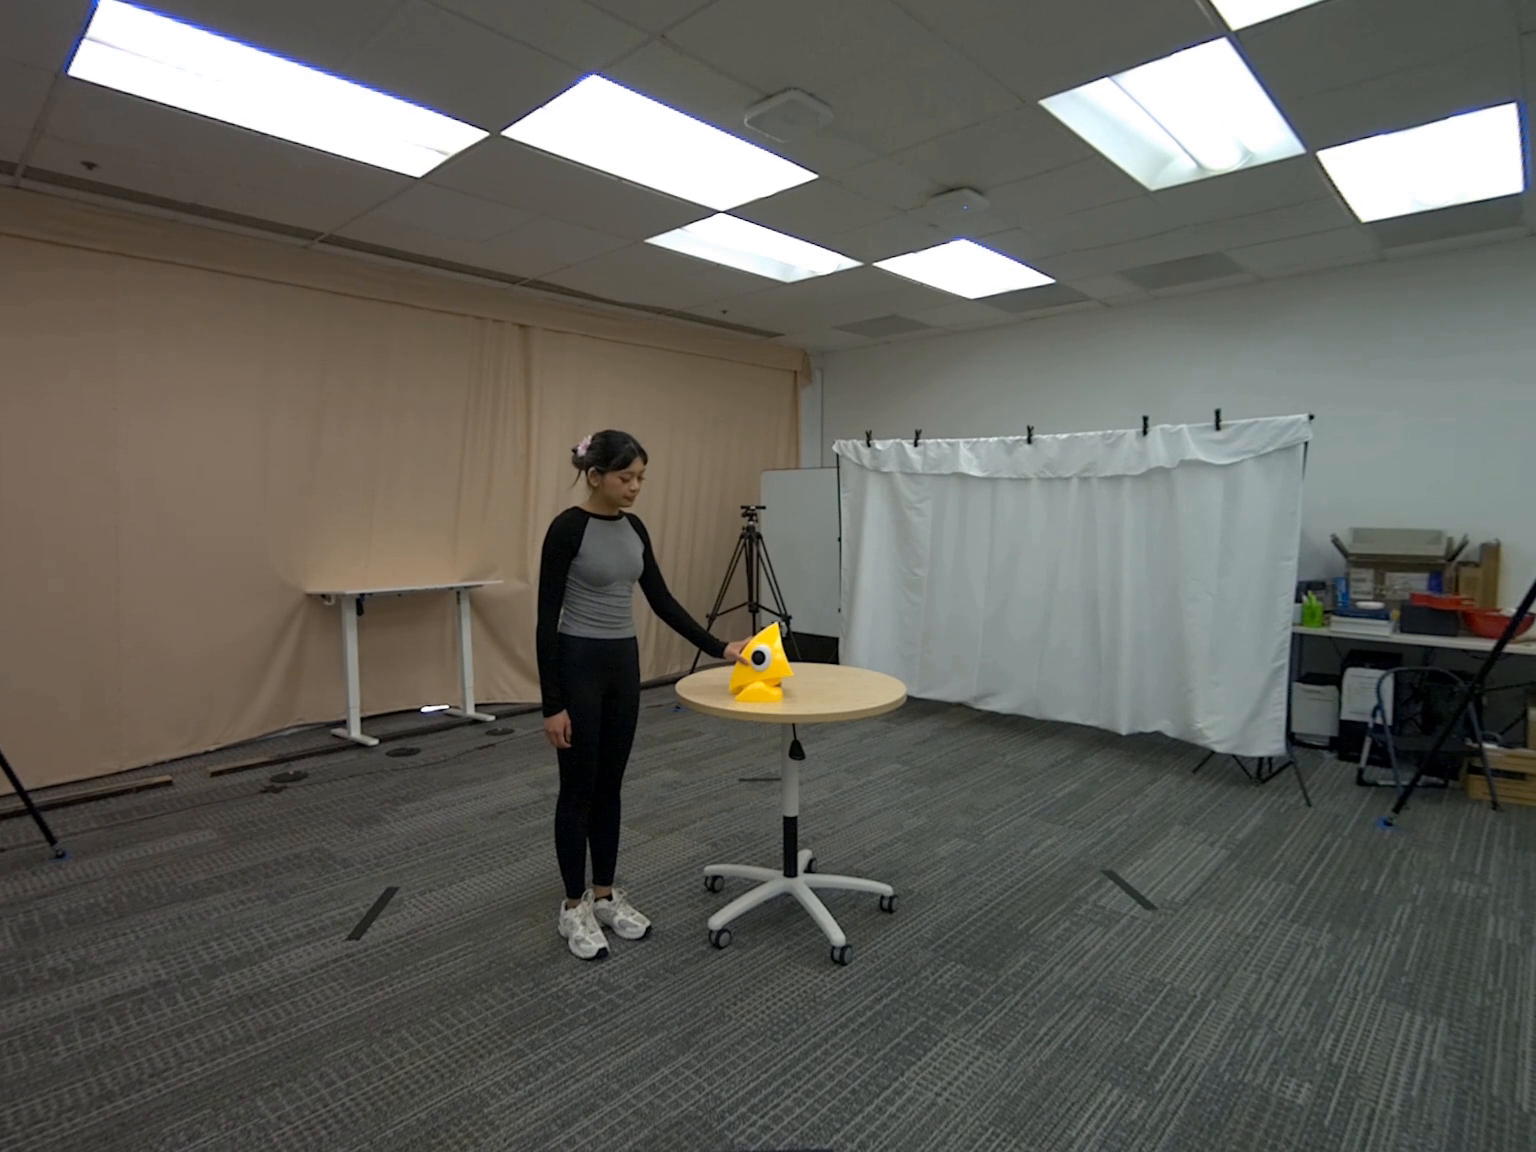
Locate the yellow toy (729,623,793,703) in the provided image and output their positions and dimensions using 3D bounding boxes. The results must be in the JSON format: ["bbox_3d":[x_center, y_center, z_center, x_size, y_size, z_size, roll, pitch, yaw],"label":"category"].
[{"bbox_3d":[-0.027,0.266,2.667,0.191,0.230,0.207,1,4,-10],"label":"yellow toy"}]
